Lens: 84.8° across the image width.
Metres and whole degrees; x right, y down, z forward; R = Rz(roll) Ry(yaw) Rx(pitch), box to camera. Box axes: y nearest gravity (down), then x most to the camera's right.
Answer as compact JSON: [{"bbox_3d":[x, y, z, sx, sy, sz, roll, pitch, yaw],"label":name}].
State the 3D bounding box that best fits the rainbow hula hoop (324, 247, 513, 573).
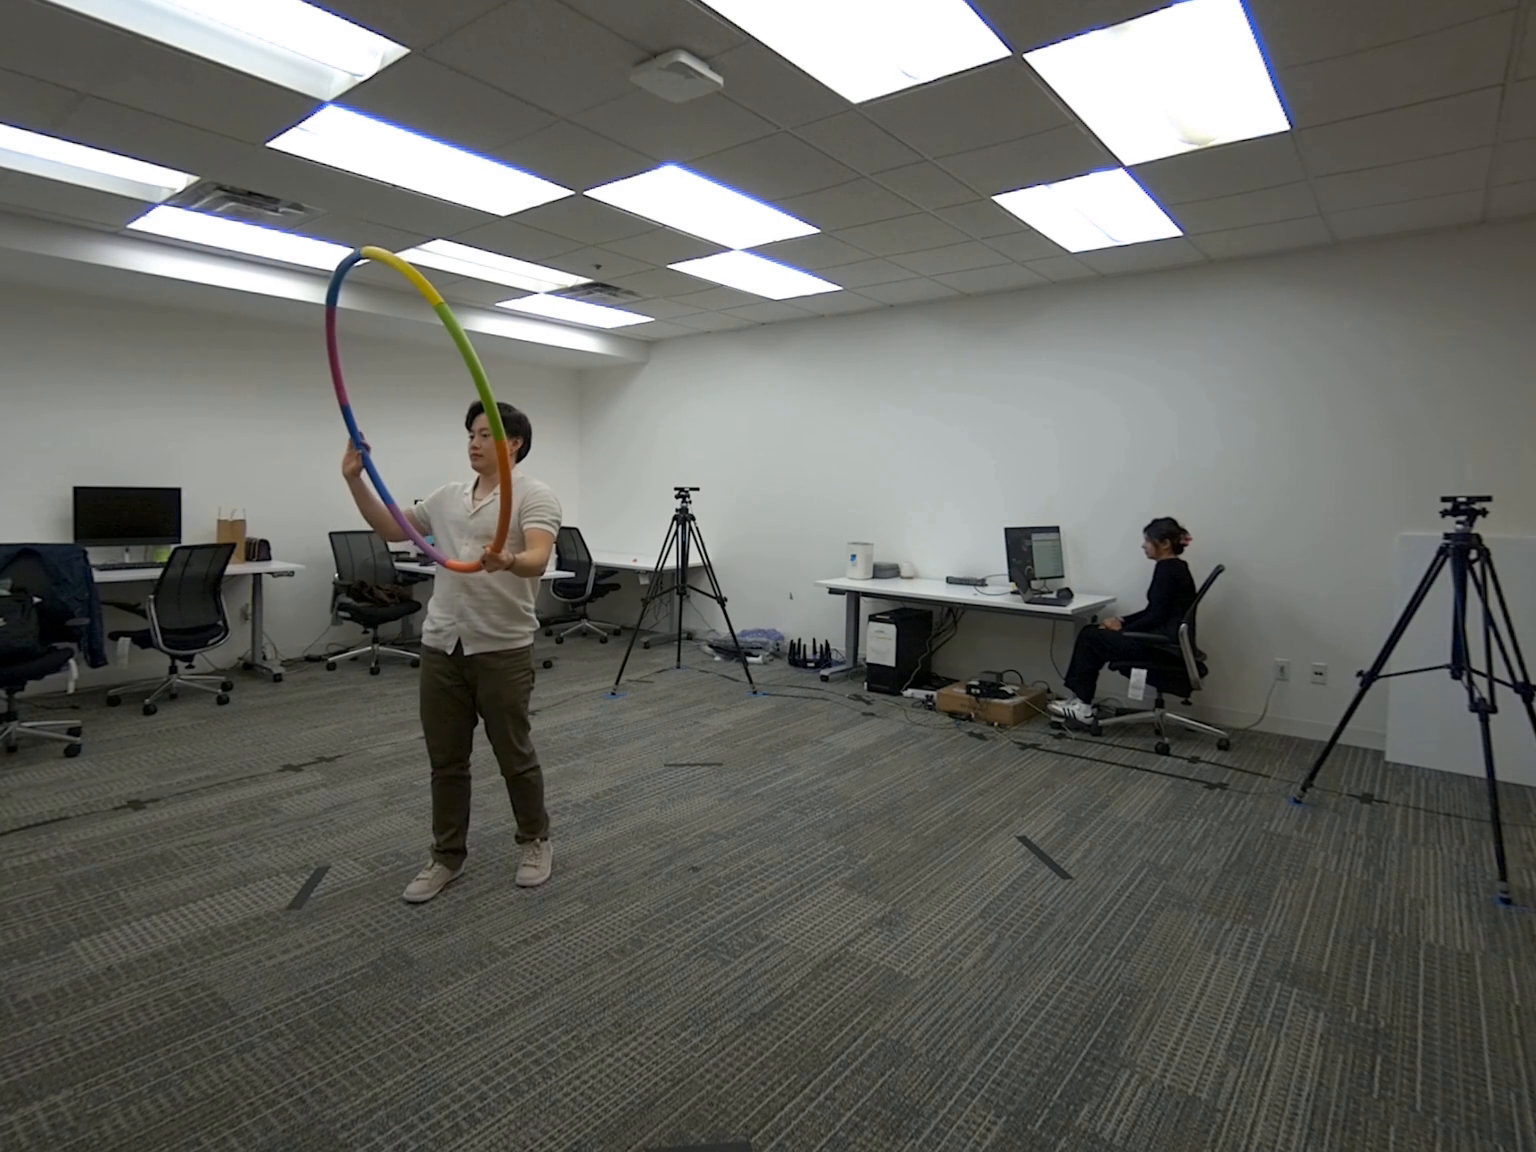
[{"bbox_3d":[-1.079,-0.468,2.533,1.012,0.959,0.035,5,25,44],"label":"rainbow hula hoop"}]
